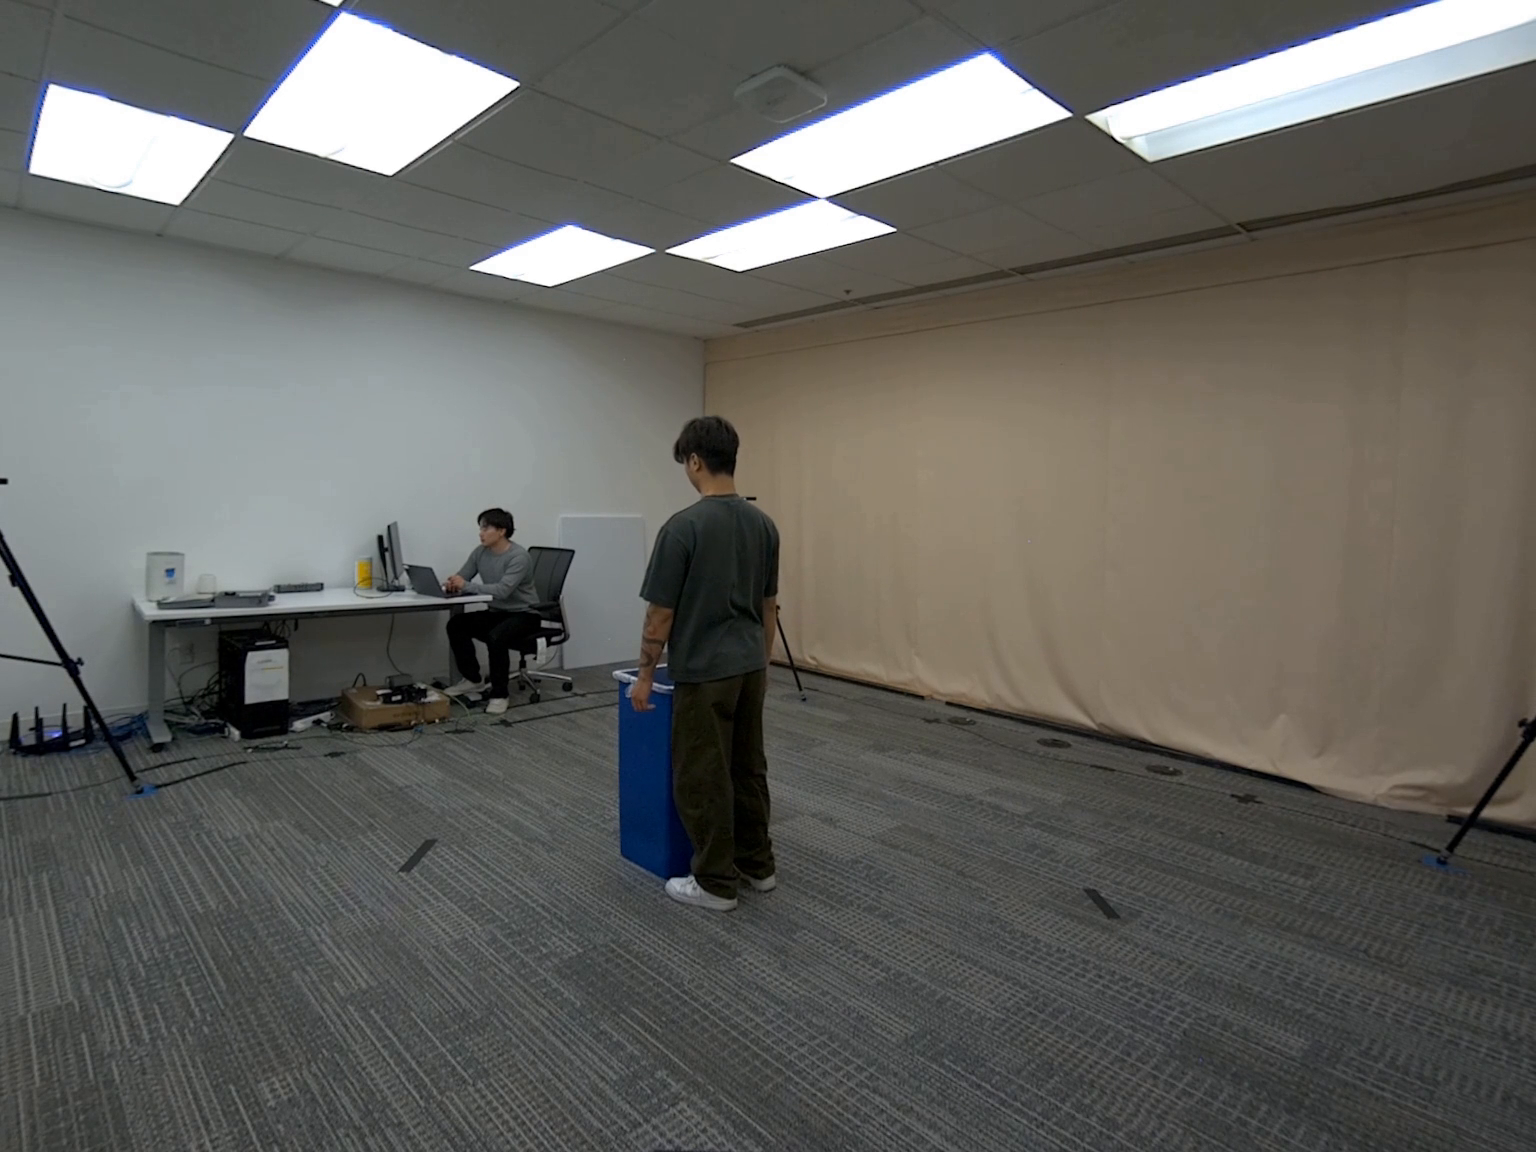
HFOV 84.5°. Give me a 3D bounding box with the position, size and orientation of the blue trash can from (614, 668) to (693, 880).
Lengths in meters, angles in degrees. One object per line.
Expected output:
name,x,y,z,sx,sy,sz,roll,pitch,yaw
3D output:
blue trash can,-0.375,0.732,3.250,0.369,0.712,0.383,-1,4,-44
